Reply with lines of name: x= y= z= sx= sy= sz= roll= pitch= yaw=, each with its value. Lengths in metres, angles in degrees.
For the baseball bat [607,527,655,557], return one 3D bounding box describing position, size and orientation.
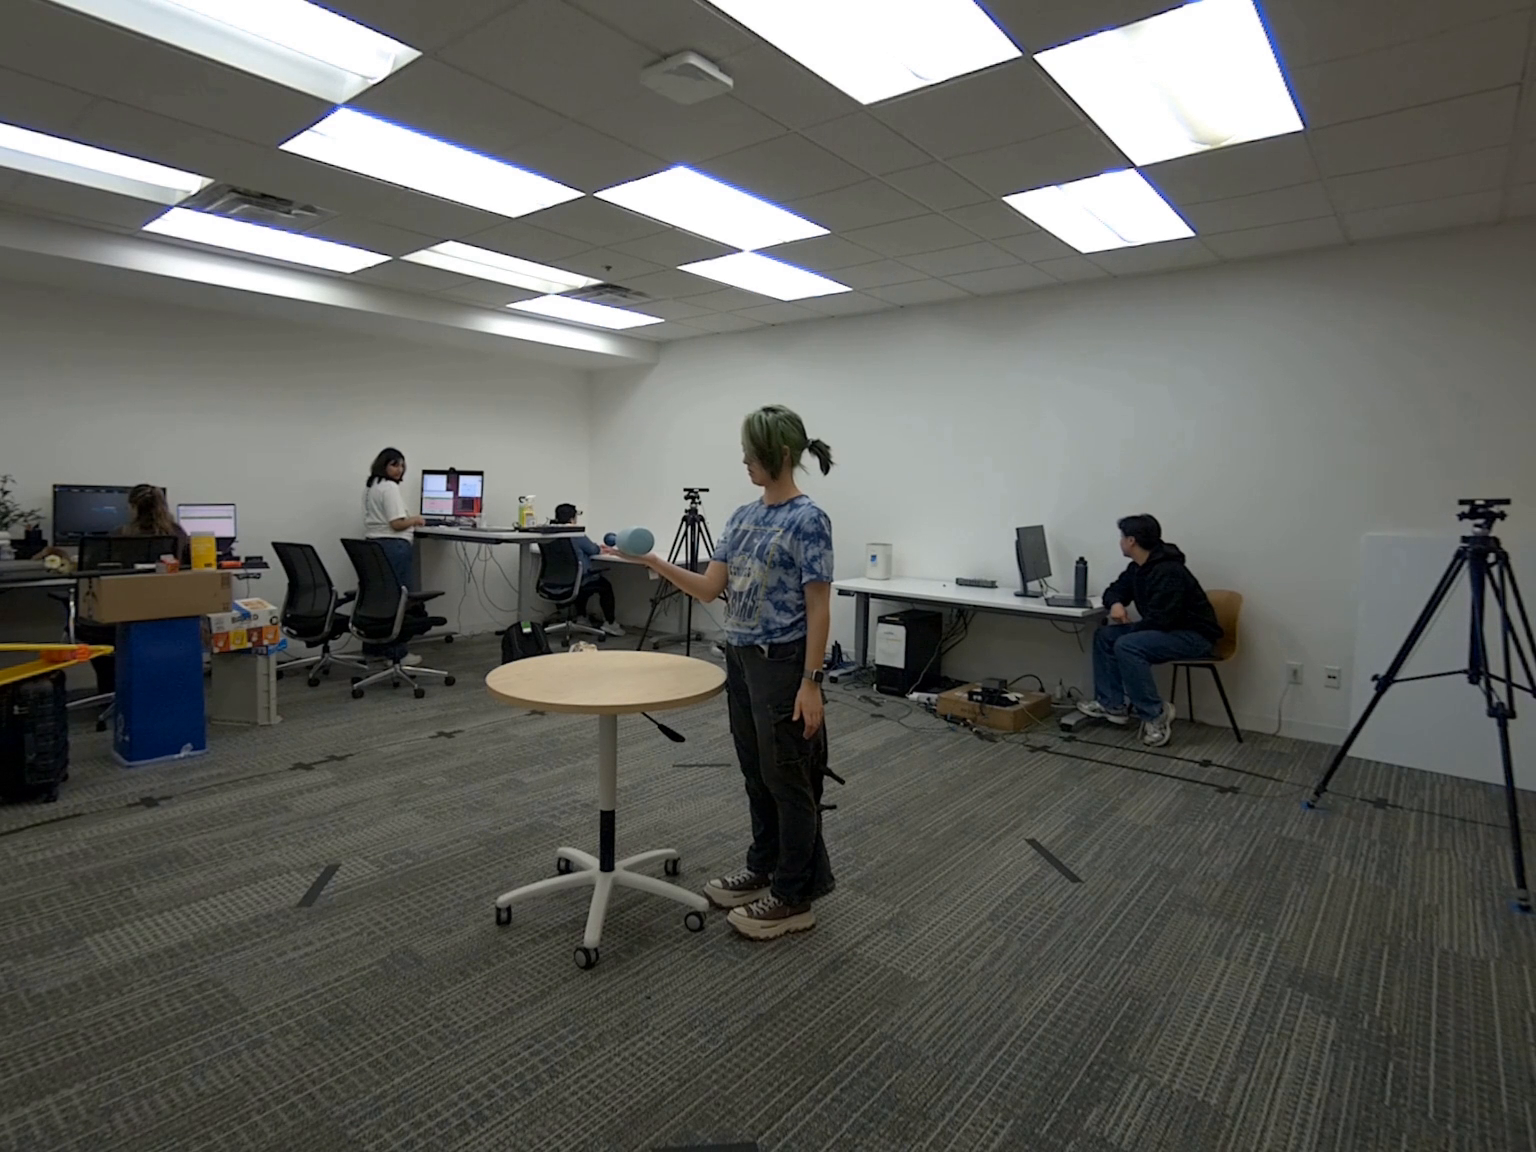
baseball bat: x=-0.477 y=-0.112 z=2.713 sx=0.087 sy=0.089 sz=0.553 roll=0 pitch=3 yaw=-19
